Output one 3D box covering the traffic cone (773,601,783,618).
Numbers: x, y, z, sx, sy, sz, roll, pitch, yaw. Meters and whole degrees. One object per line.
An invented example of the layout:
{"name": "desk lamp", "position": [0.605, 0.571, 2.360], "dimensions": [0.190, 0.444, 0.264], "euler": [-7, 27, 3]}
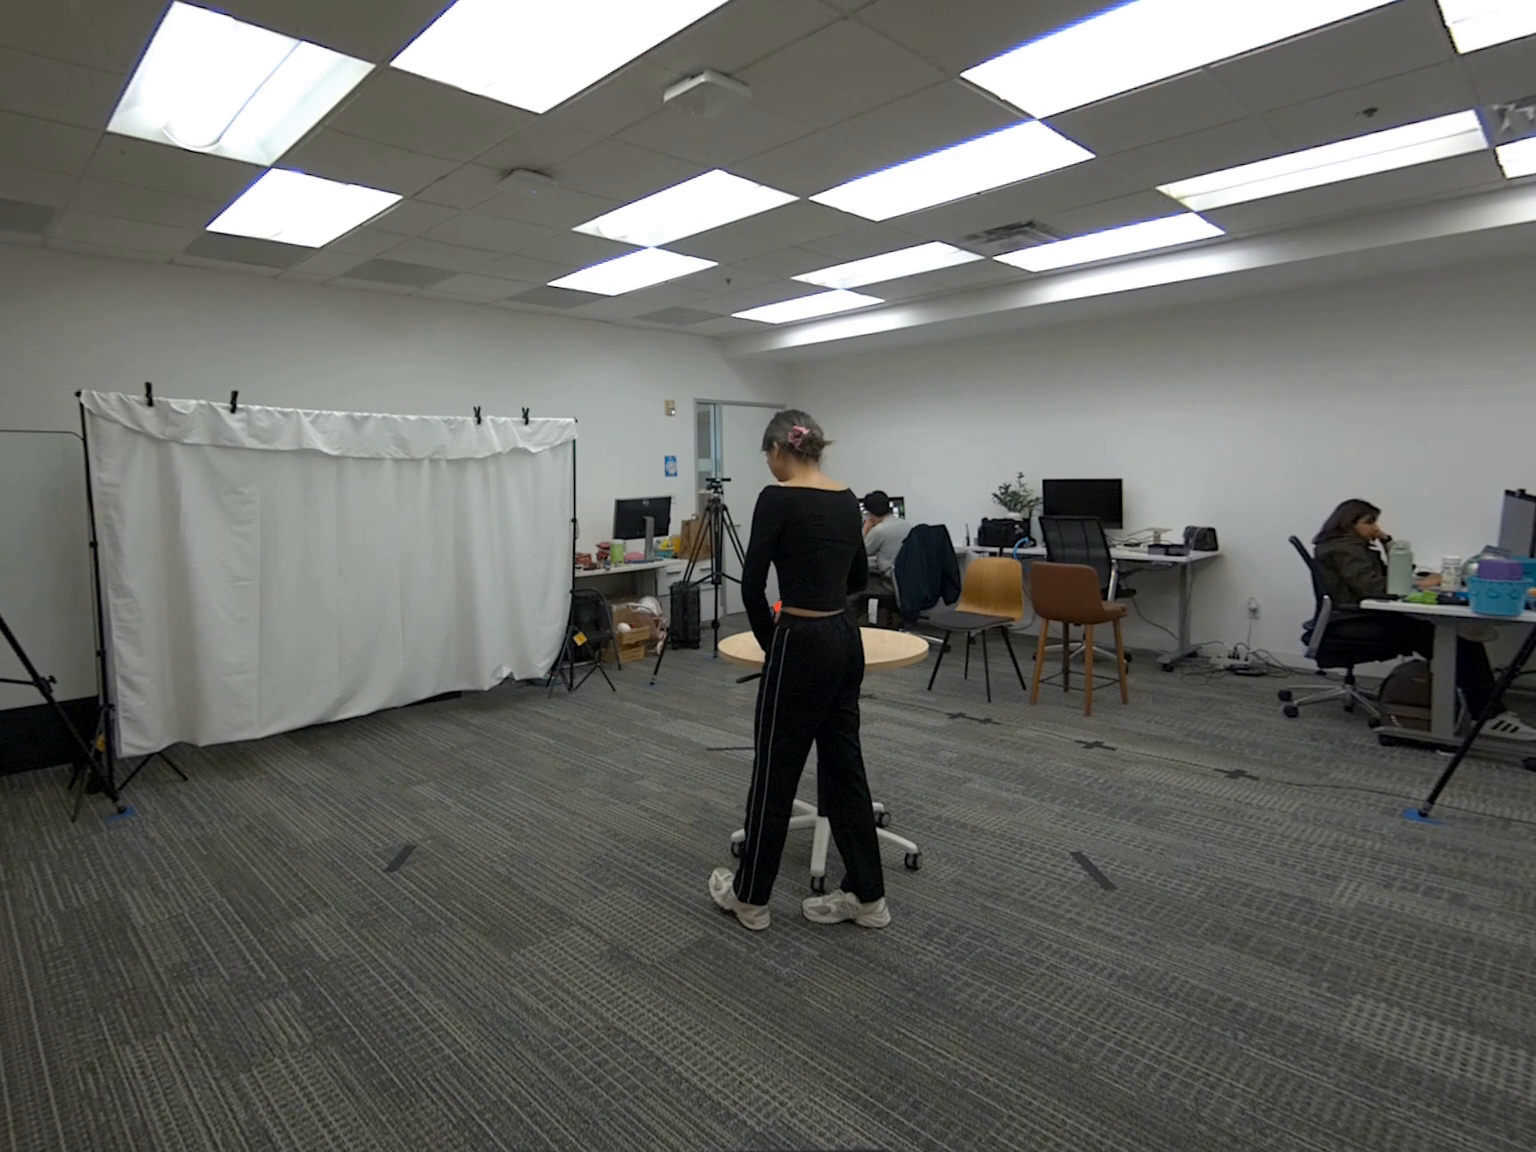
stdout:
{"name": "traffic cone", "position": [0.086, 0.216, 2.873], "dimensions": [0.207, 0.202, 0.383], "euler": [-32, 7, 33]}
